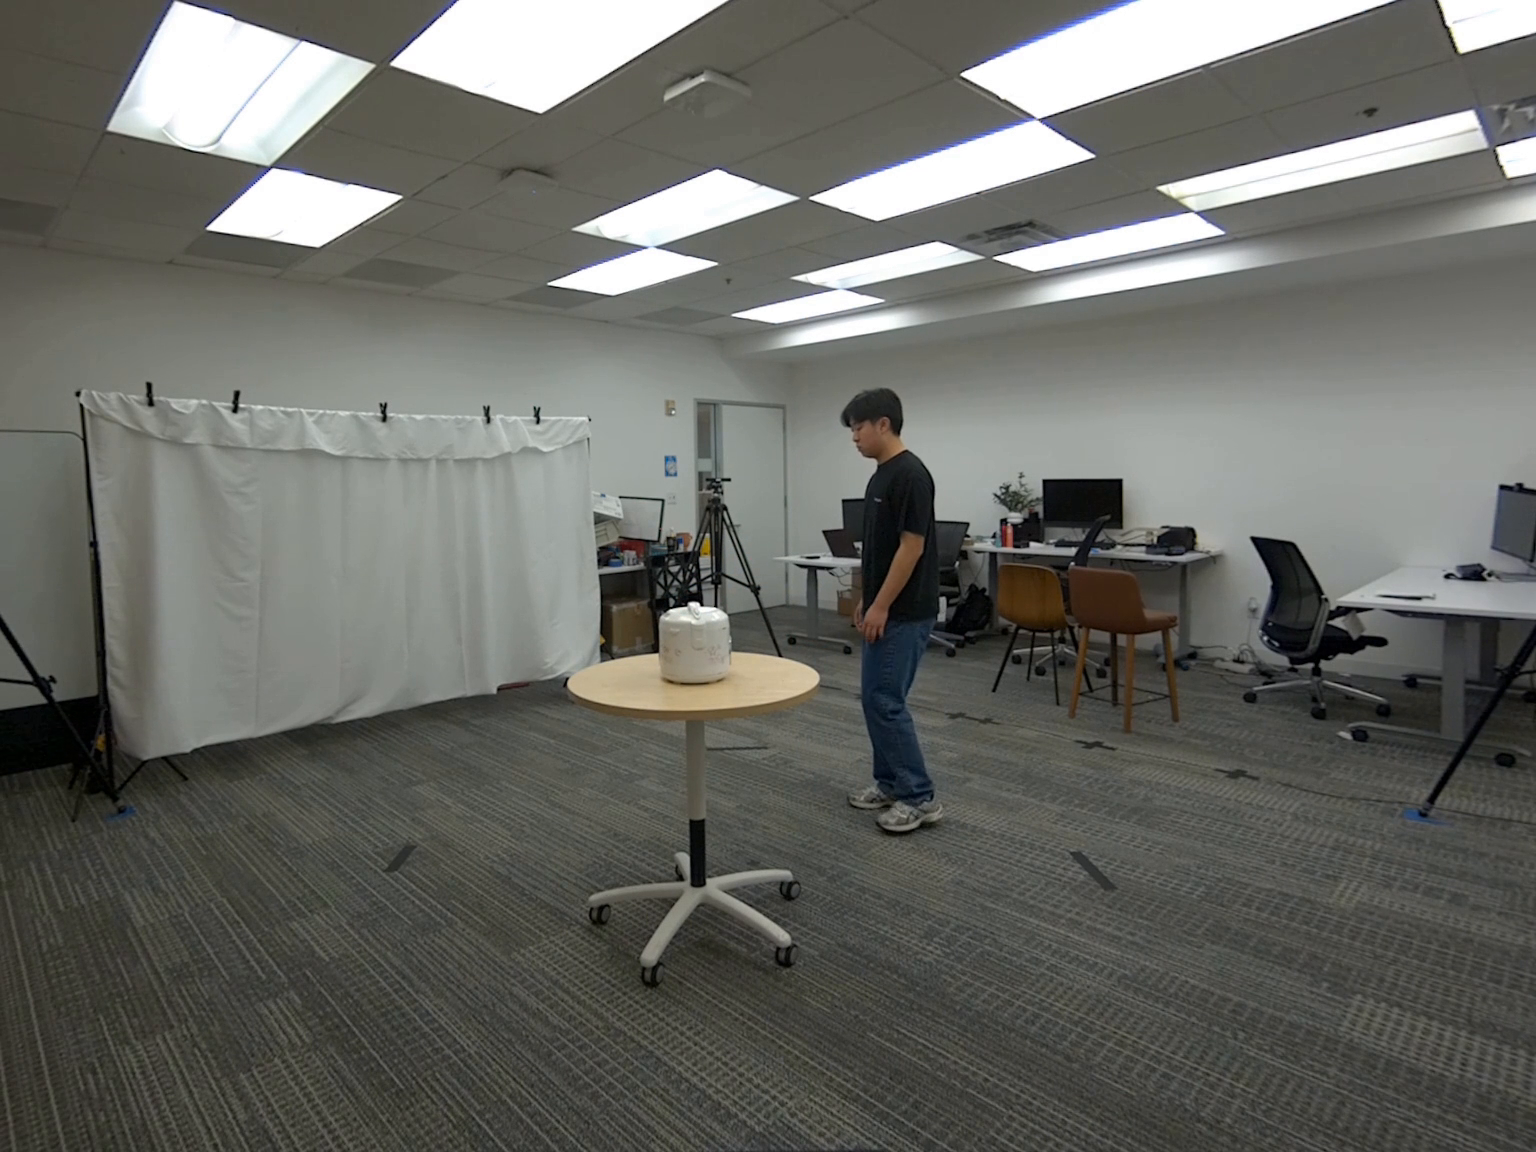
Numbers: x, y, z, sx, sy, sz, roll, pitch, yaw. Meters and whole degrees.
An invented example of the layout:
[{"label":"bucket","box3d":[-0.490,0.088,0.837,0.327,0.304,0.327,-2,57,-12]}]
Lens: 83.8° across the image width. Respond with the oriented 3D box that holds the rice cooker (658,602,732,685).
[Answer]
[{"label":"rice cooker","box3d":[-0.217,0.196,2.586,0.215,0.232,0.224,-2,6,-10]}]
